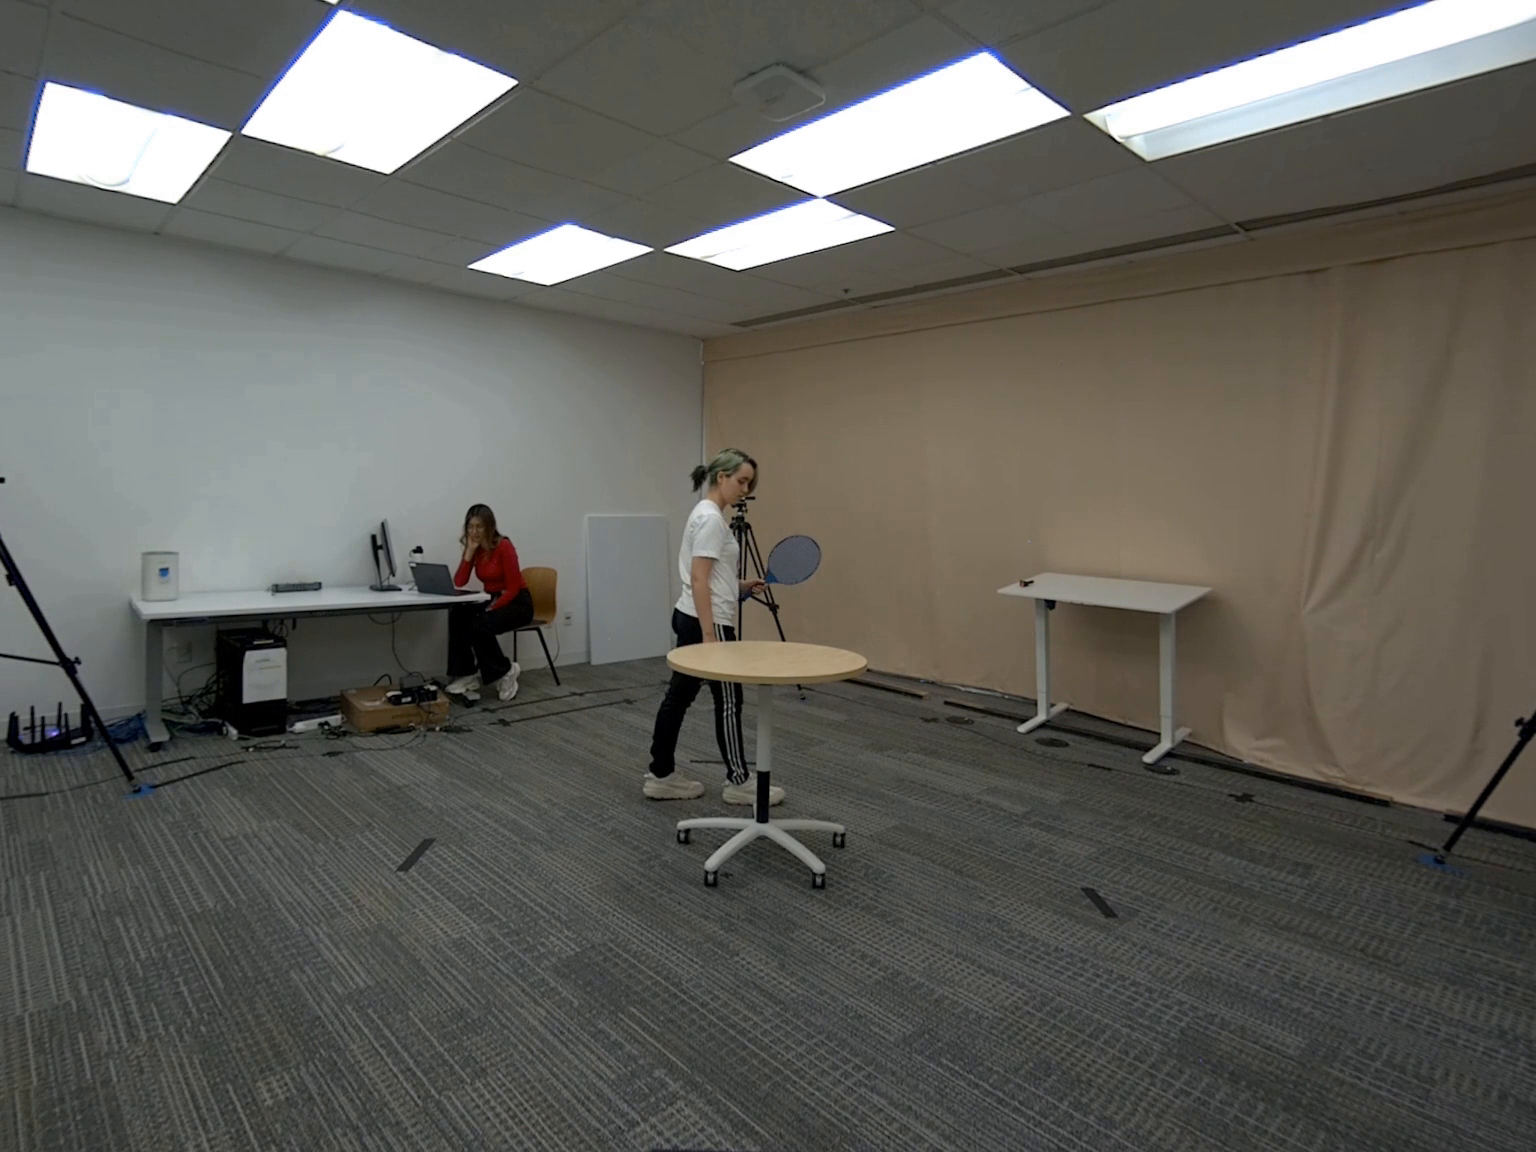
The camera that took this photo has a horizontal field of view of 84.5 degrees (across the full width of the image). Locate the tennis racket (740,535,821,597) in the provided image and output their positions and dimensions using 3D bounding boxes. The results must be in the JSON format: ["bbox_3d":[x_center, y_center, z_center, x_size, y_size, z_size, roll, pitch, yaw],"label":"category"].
[{"bbox_3d":[0.045,-0.022,3.903,0.434,0.214,0.031,-38,-3,12],"label":"tennis racket"}]
